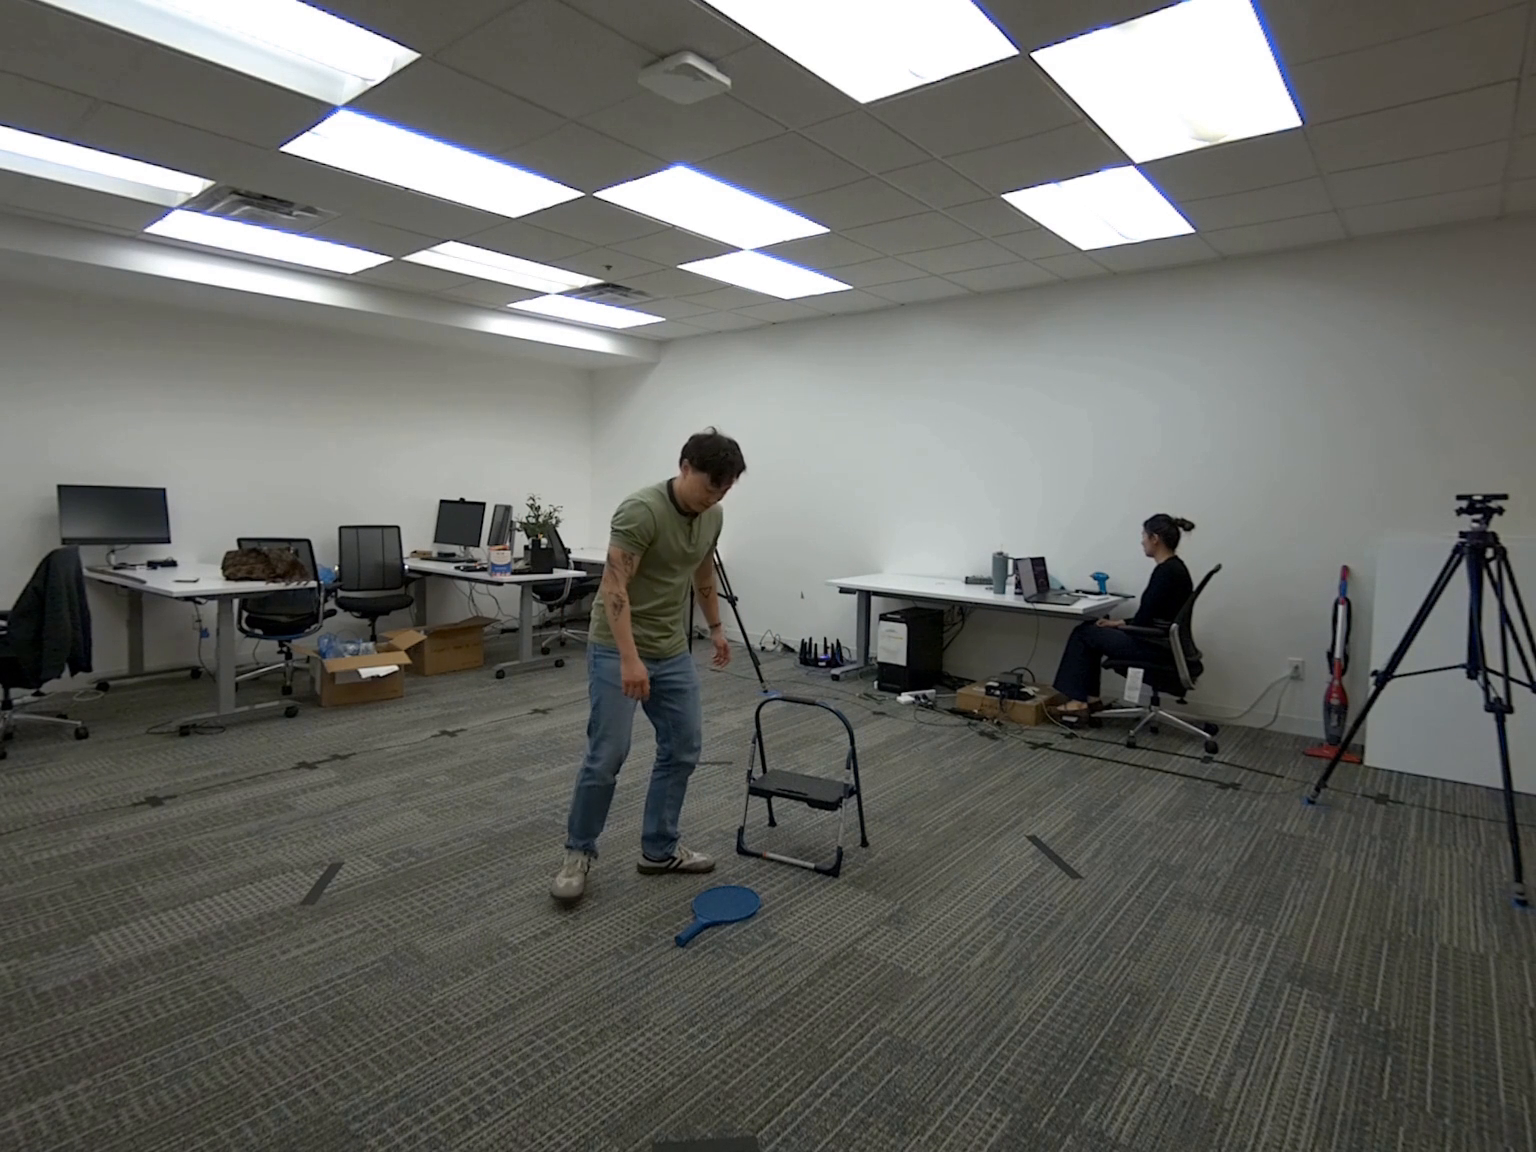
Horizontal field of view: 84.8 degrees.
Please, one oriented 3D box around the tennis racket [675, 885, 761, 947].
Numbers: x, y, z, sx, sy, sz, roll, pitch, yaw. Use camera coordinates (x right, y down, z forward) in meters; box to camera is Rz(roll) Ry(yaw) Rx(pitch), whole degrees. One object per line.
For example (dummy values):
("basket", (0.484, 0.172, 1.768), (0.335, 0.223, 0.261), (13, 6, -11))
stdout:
("tennis racket", (-0.181, 1.087, 2.752), (0.219, 0.032, 0.422), (3, 5, 26))
